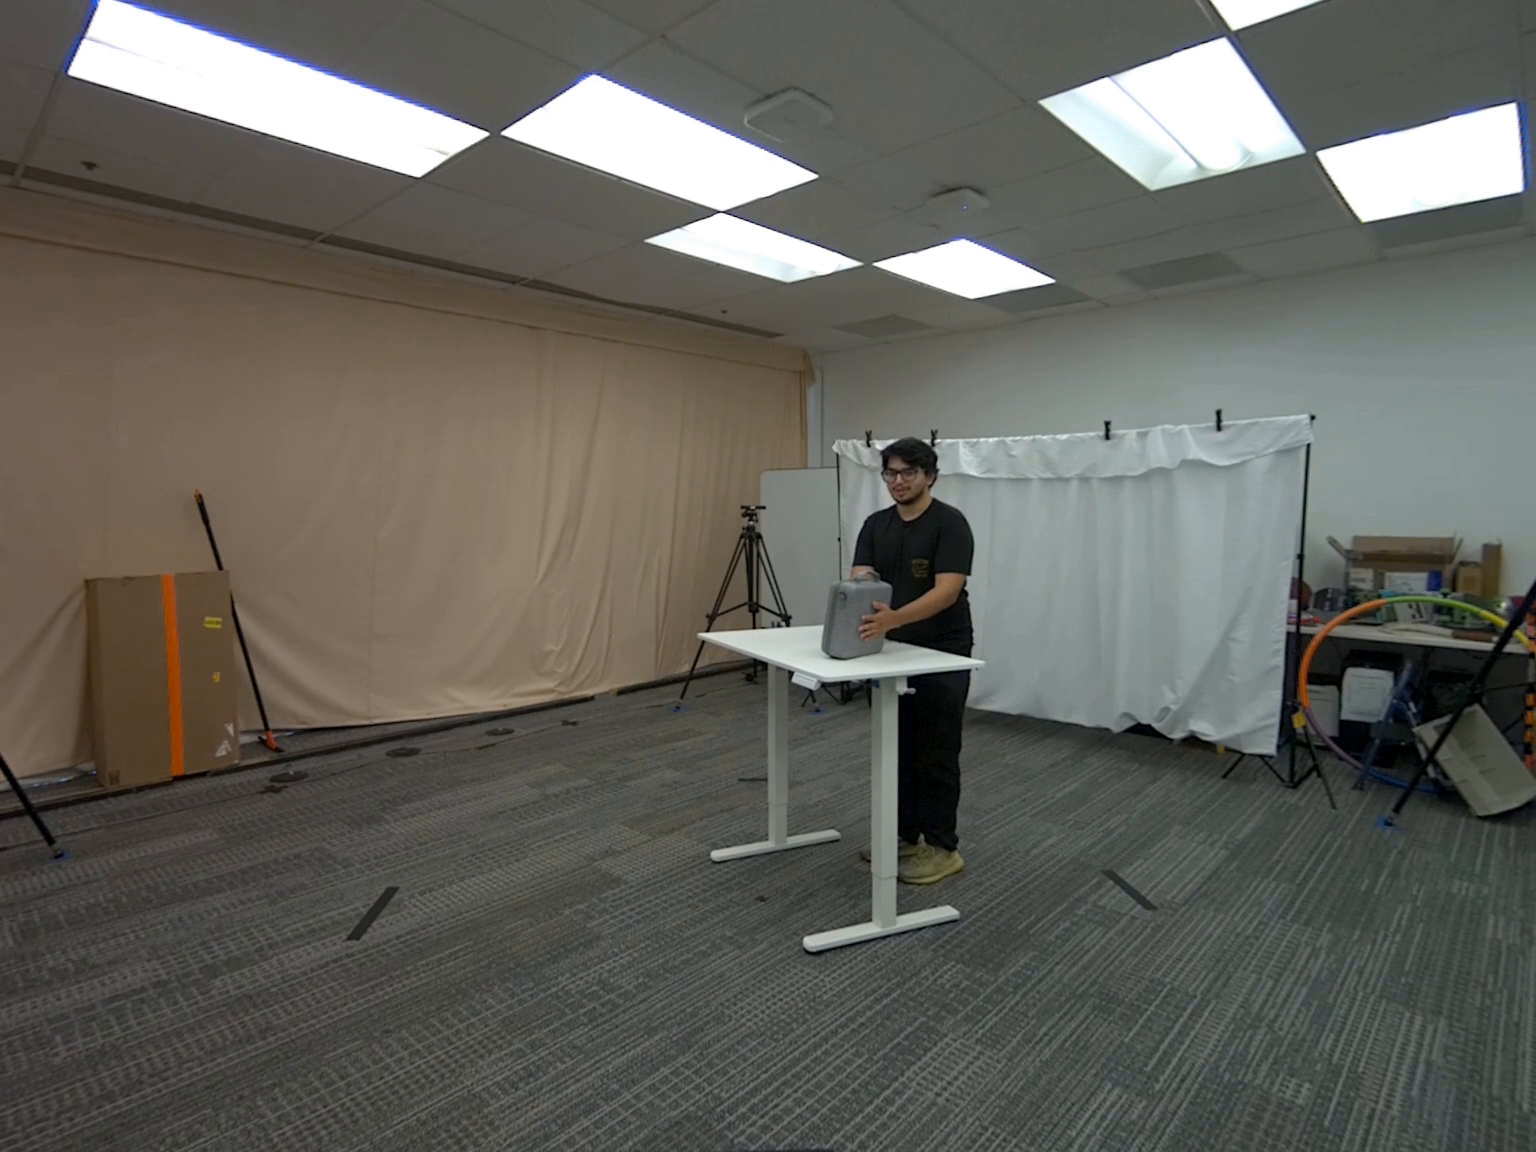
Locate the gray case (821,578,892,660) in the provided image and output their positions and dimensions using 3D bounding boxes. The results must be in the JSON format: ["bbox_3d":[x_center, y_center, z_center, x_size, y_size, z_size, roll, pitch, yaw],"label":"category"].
[{"bbox_3d":[0.309,0.141,2.834,0.108,0.259,0.249,17,12,40],"label":"gray case"}]
